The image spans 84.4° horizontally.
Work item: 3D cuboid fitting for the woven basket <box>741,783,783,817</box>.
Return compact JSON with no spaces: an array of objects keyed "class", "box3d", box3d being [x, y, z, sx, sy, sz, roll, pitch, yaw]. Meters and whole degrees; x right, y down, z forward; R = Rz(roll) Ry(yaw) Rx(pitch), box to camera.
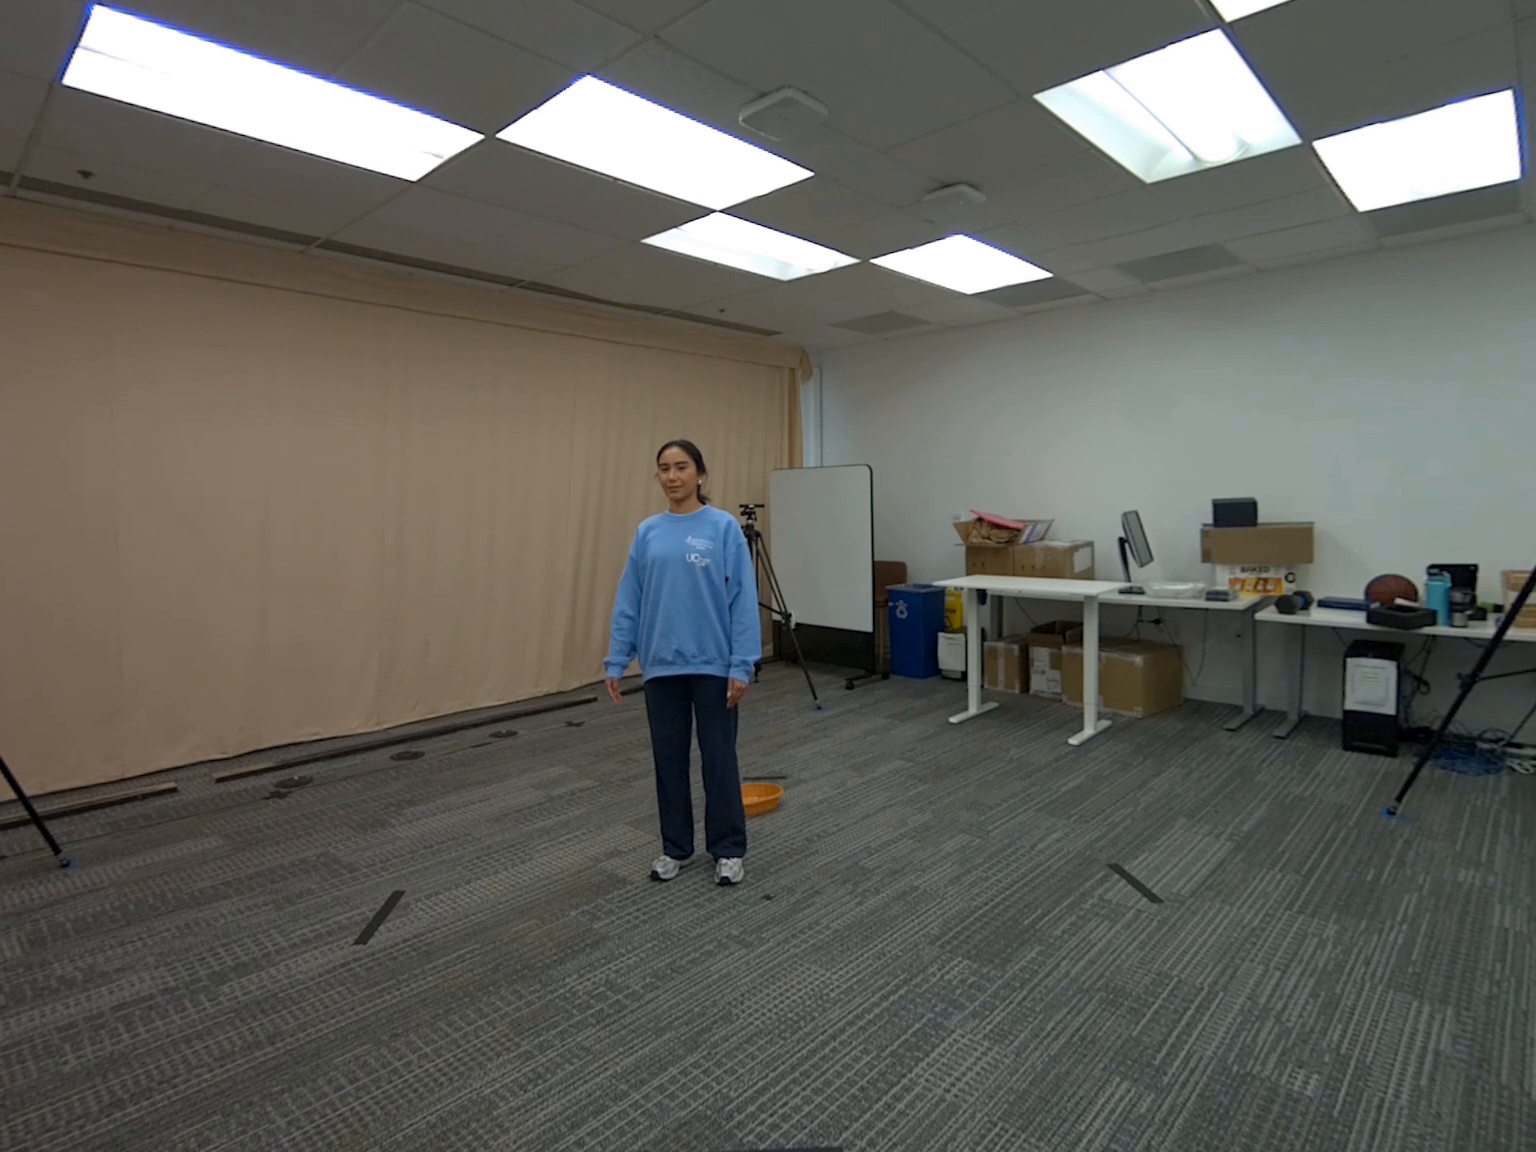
[{"class":"woven basket","box3d":[-0.090,1.028,3.863,0.340,0.073,0.260,-4,4,-35]}]
